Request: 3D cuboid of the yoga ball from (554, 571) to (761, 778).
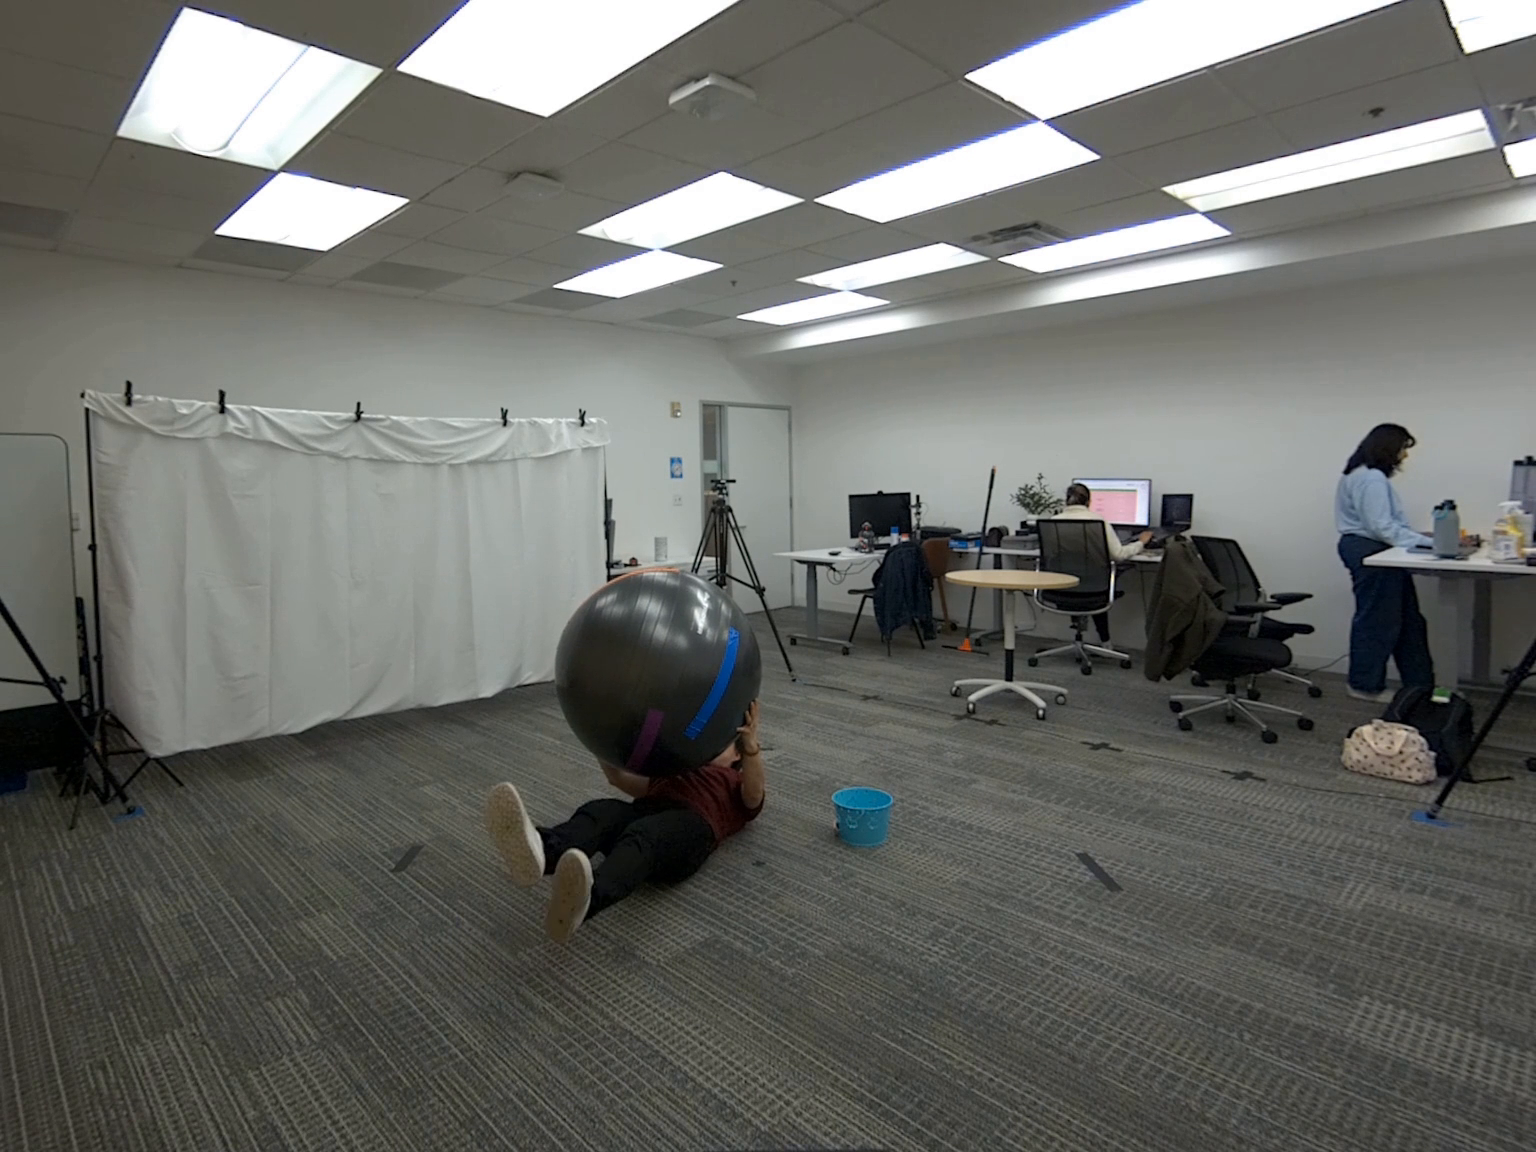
[{"bbox_3d":[-0.408,0.353,3.168,0.757,0.755,0.762,-1,5,-2],"label":"yoga ball"}]
